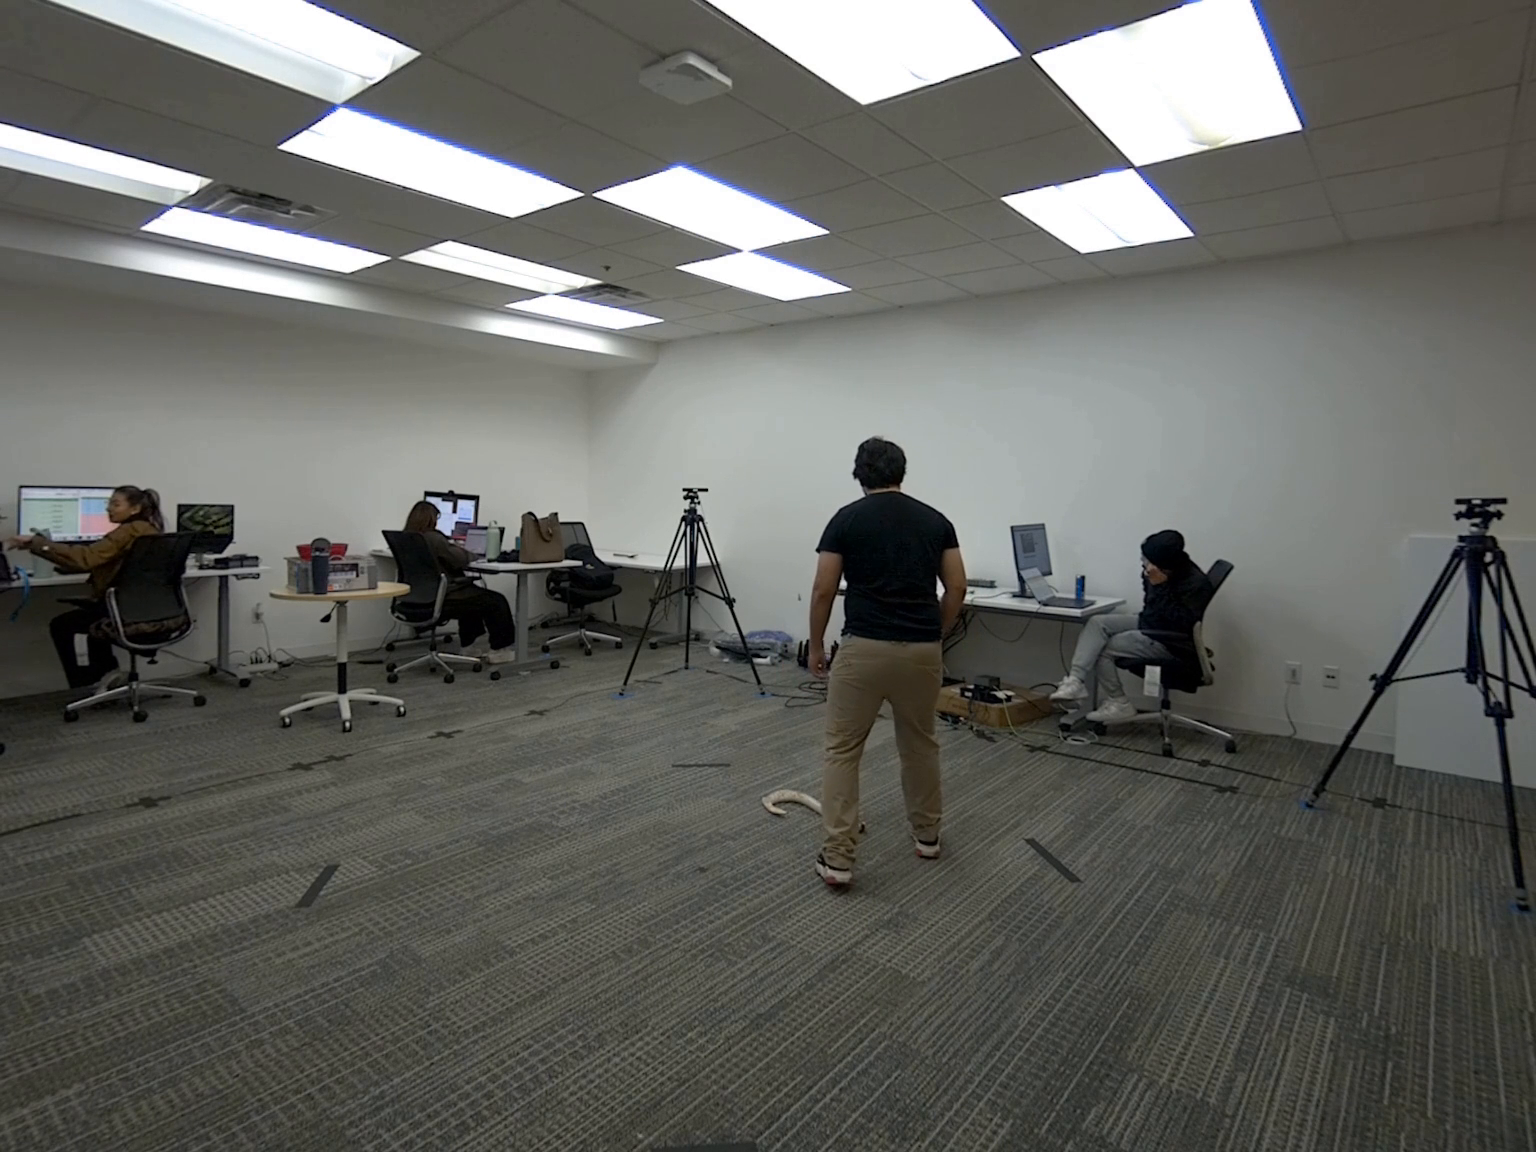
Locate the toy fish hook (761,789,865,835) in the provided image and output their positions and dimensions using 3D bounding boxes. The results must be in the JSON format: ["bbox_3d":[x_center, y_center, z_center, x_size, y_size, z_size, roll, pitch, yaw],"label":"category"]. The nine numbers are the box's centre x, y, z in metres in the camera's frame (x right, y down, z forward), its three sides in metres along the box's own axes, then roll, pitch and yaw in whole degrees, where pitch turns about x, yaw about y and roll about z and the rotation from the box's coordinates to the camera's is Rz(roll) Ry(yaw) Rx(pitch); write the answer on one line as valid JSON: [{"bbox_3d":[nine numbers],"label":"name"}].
[{"bbox_3d":[0.173,1.011,3.639,0.219,0.048,0.524,-13,13,-41],"label":"toy fish hook"}]
